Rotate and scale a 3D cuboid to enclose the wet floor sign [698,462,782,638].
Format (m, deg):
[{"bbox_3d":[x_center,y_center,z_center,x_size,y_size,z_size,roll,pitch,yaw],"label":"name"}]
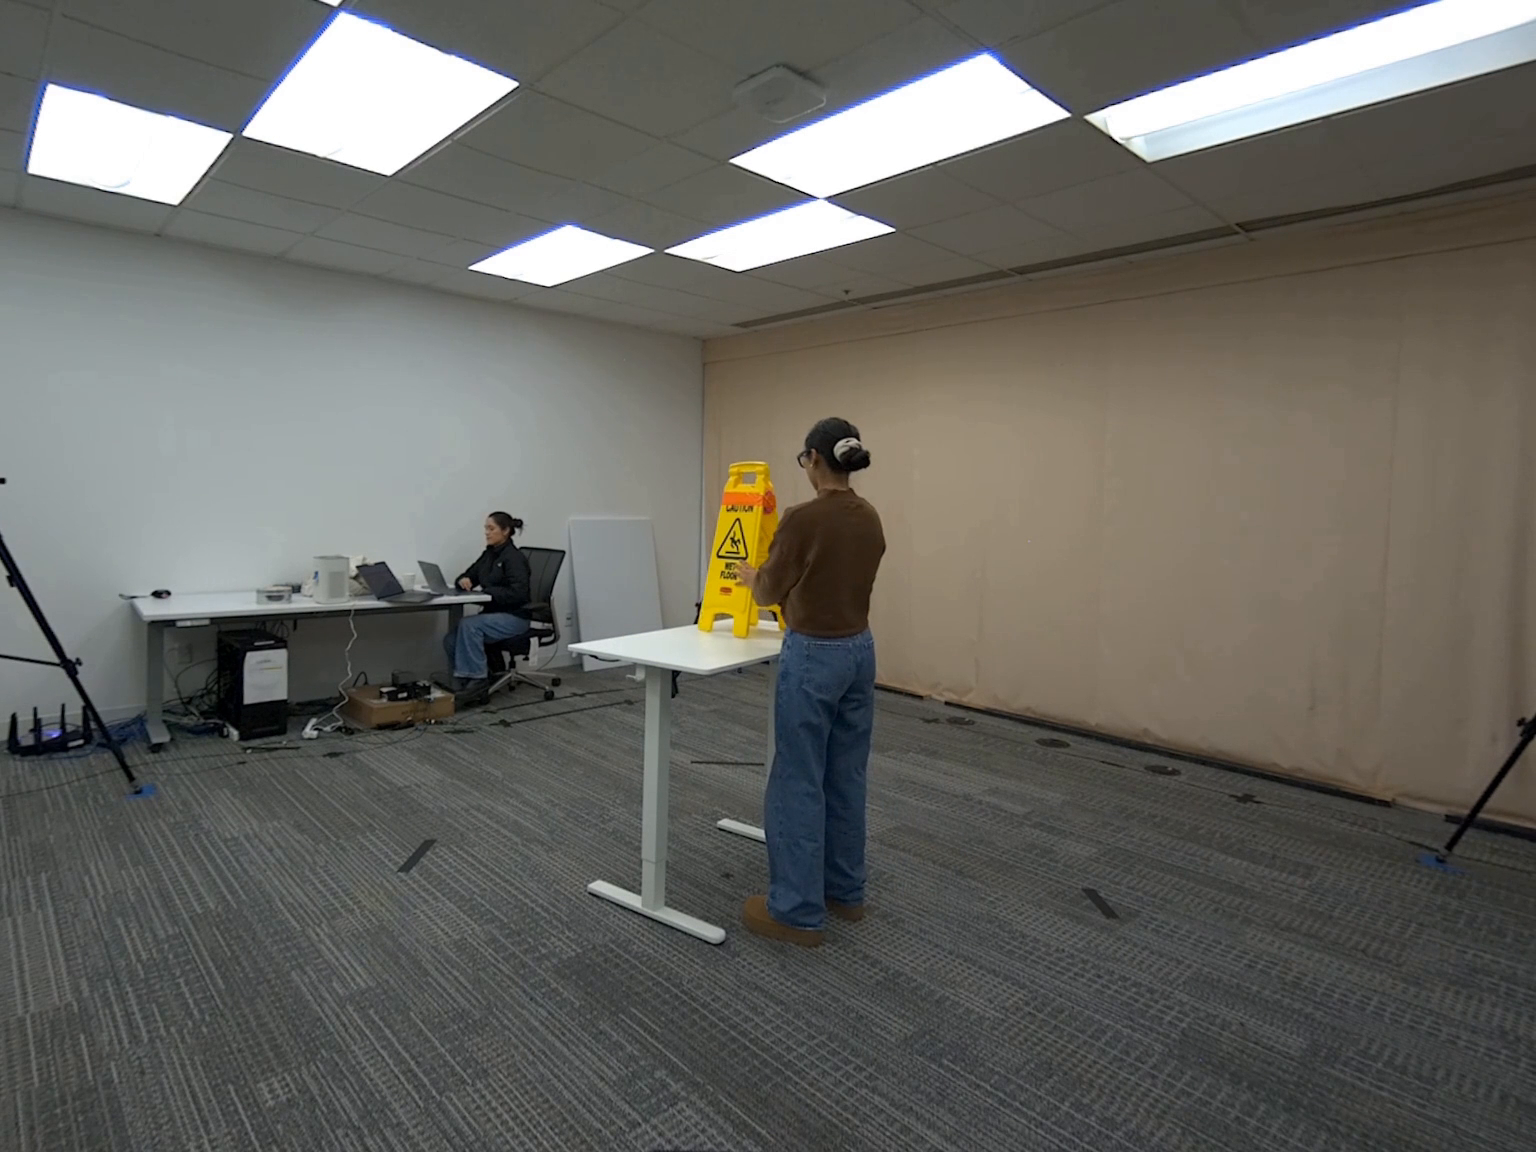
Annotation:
[{"bbox_3d":[-0.088,-0.110,3.241,0.283,0.645,0.289,-2,3,-44],"label":"wet floor sign"}]
